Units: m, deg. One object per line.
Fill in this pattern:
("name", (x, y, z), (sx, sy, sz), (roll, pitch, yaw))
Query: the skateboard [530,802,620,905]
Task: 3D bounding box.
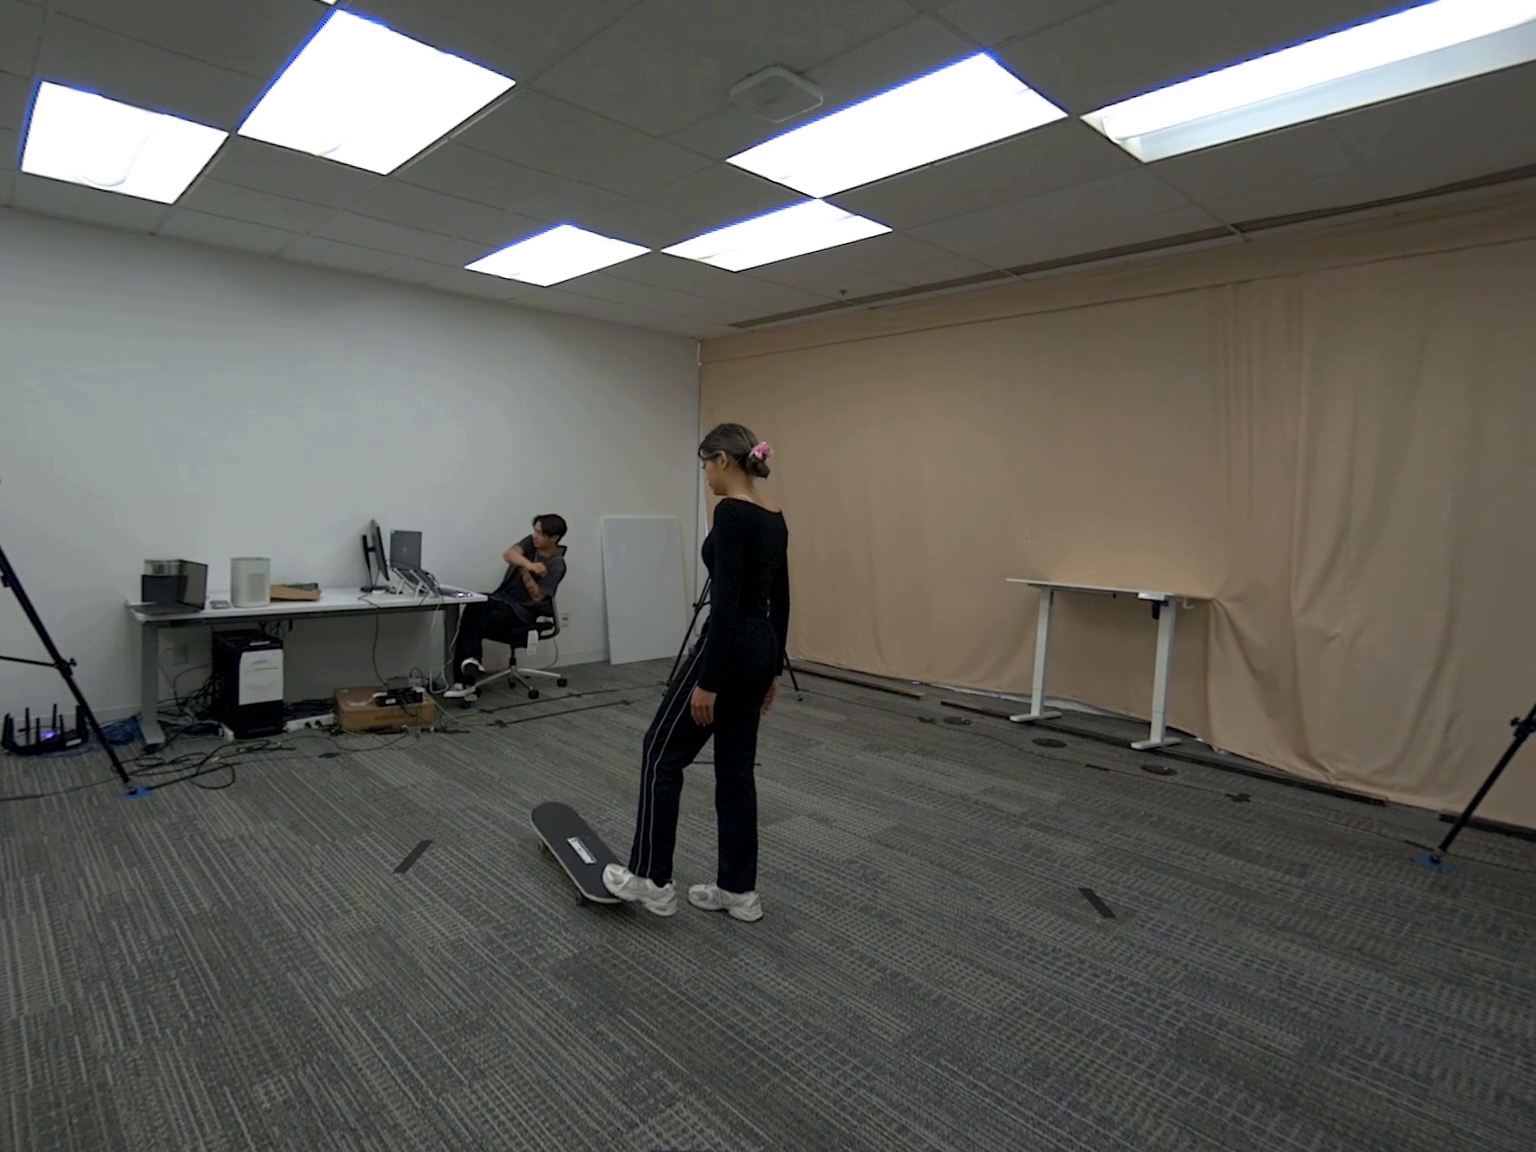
("skateboard", (-0.695, 1.039, 3.063), (0.189, 0.110, 0.806), (0, 10, -32))
